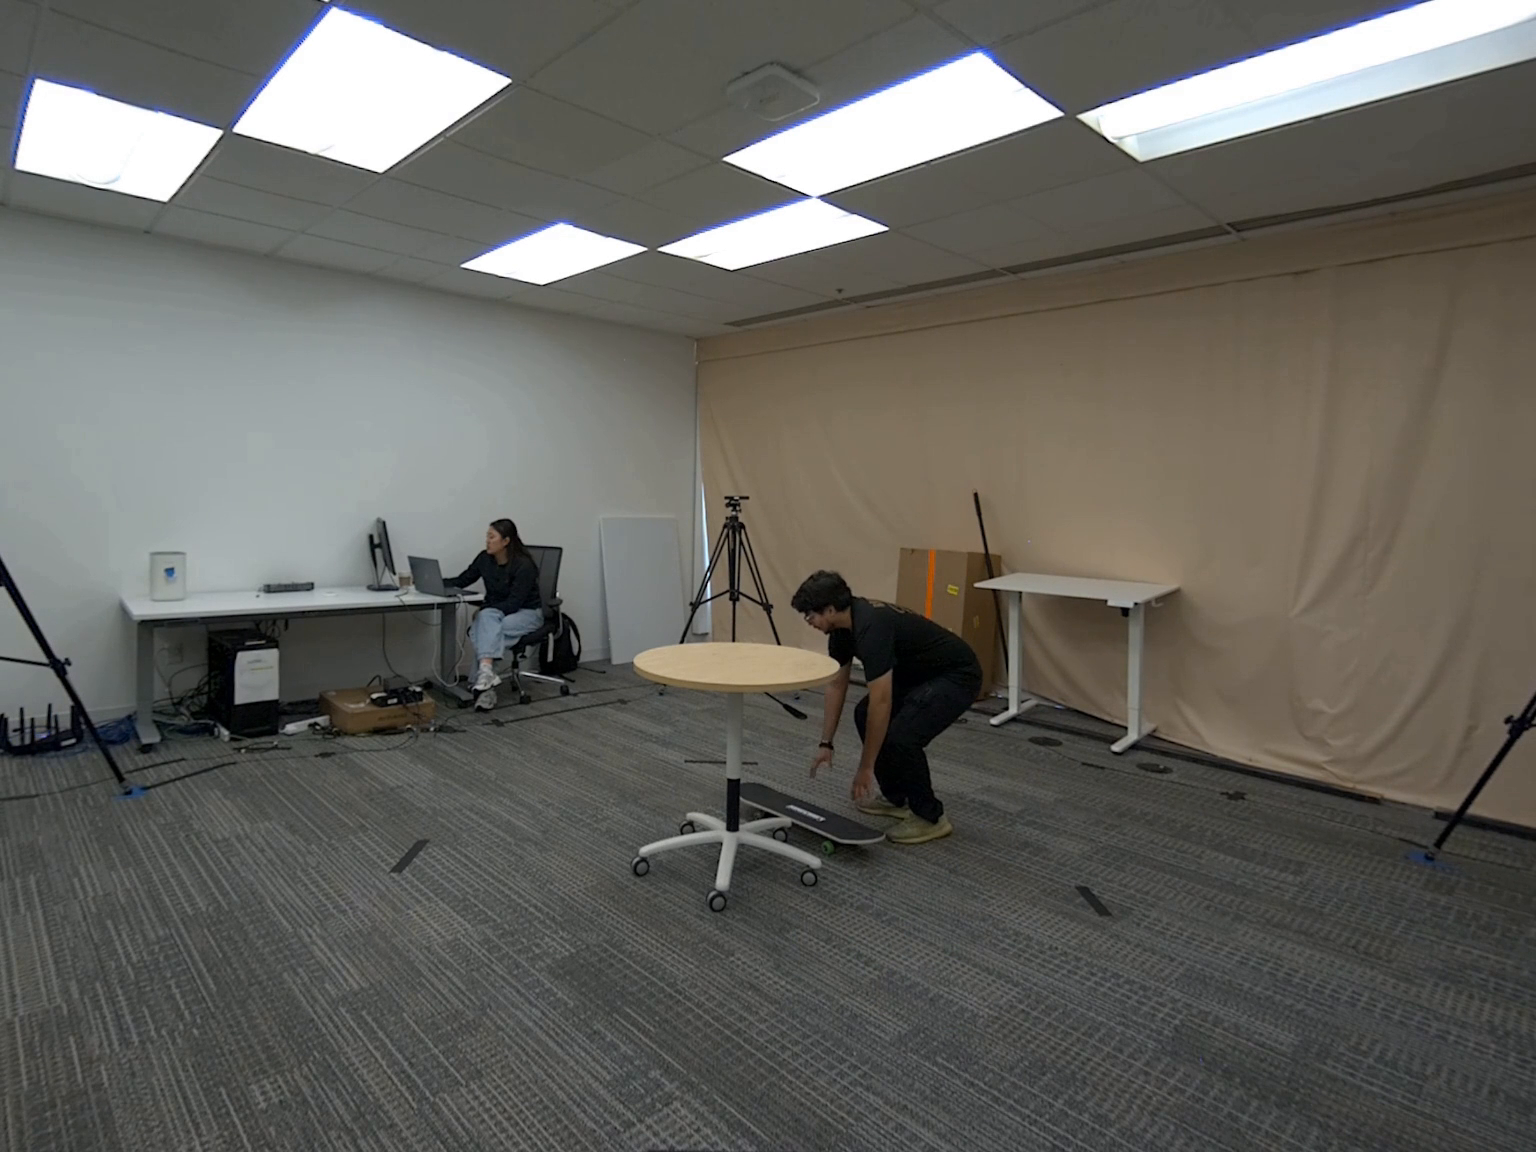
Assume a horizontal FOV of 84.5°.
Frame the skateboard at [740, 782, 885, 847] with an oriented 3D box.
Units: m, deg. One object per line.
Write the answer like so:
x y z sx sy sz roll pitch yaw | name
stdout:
0.149 1.017 3.508 0.189 0.110 0.806 -2 6 -42 | skateboard
